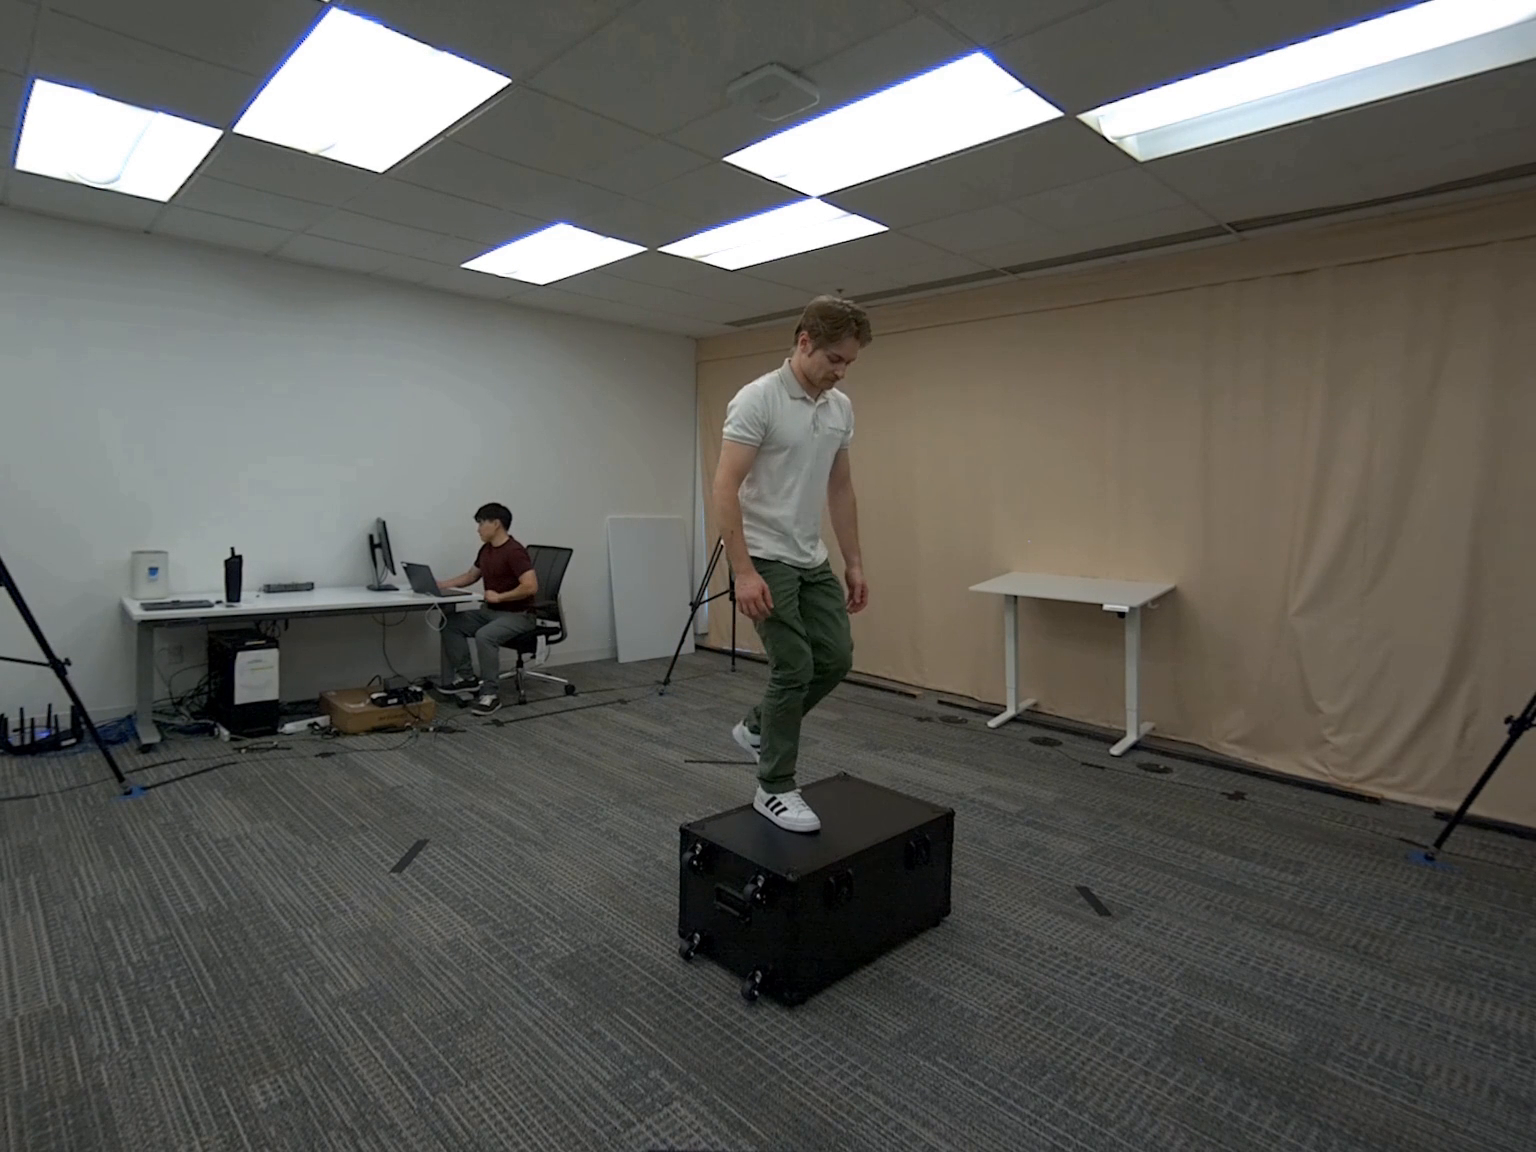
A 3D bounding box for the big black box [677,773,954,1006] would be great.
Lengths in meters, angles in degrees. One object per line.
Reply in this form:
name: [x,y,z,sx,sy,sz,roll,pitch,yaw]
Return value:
big black box: [0.132,0.957,2.680,0.849,0.384,0.537,-4,9,-44]
